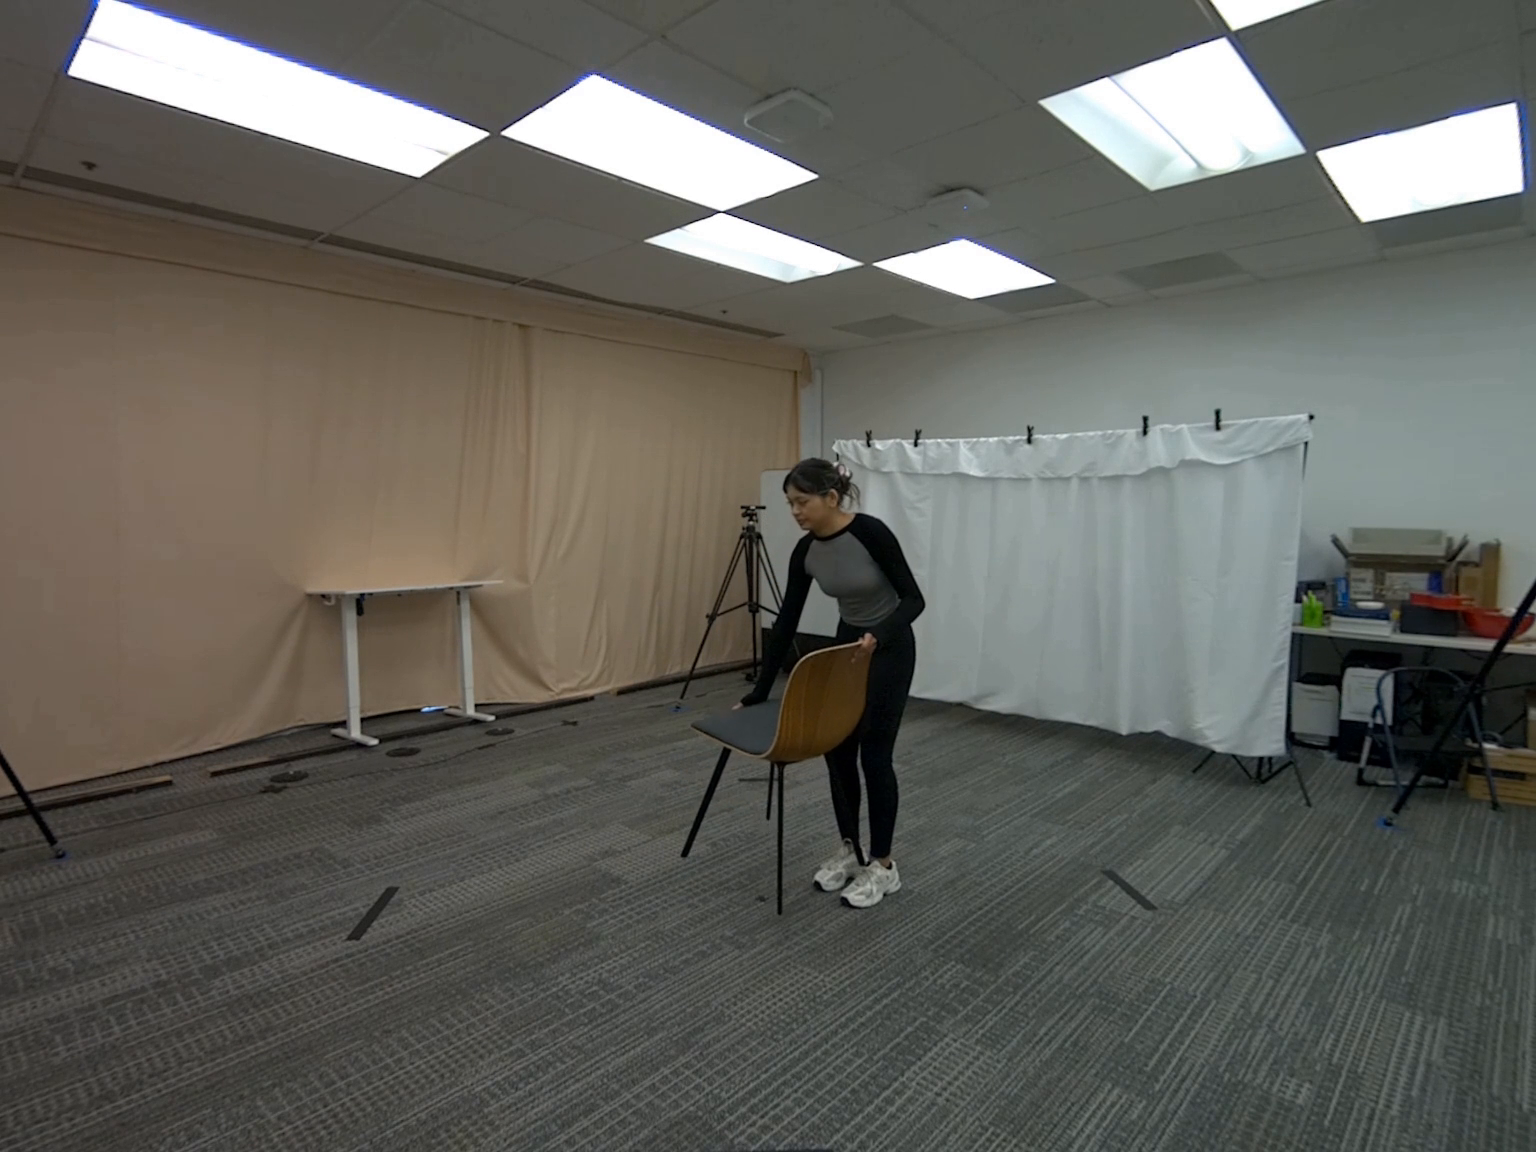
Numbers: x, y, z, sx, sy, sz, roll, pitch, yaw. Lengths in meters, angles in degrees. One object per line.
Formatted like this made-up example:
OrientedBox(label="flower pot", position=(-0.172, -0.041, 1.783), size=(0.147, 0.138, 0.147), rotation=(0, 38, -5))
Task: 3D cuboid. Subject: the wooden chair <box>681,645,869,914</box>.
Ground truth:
OrientedBox(label="wooden chair", position=(0.036, 0.574, 2.832), size=(0.542, 0.872, 0.464), rotation=(17, 16, 41))
